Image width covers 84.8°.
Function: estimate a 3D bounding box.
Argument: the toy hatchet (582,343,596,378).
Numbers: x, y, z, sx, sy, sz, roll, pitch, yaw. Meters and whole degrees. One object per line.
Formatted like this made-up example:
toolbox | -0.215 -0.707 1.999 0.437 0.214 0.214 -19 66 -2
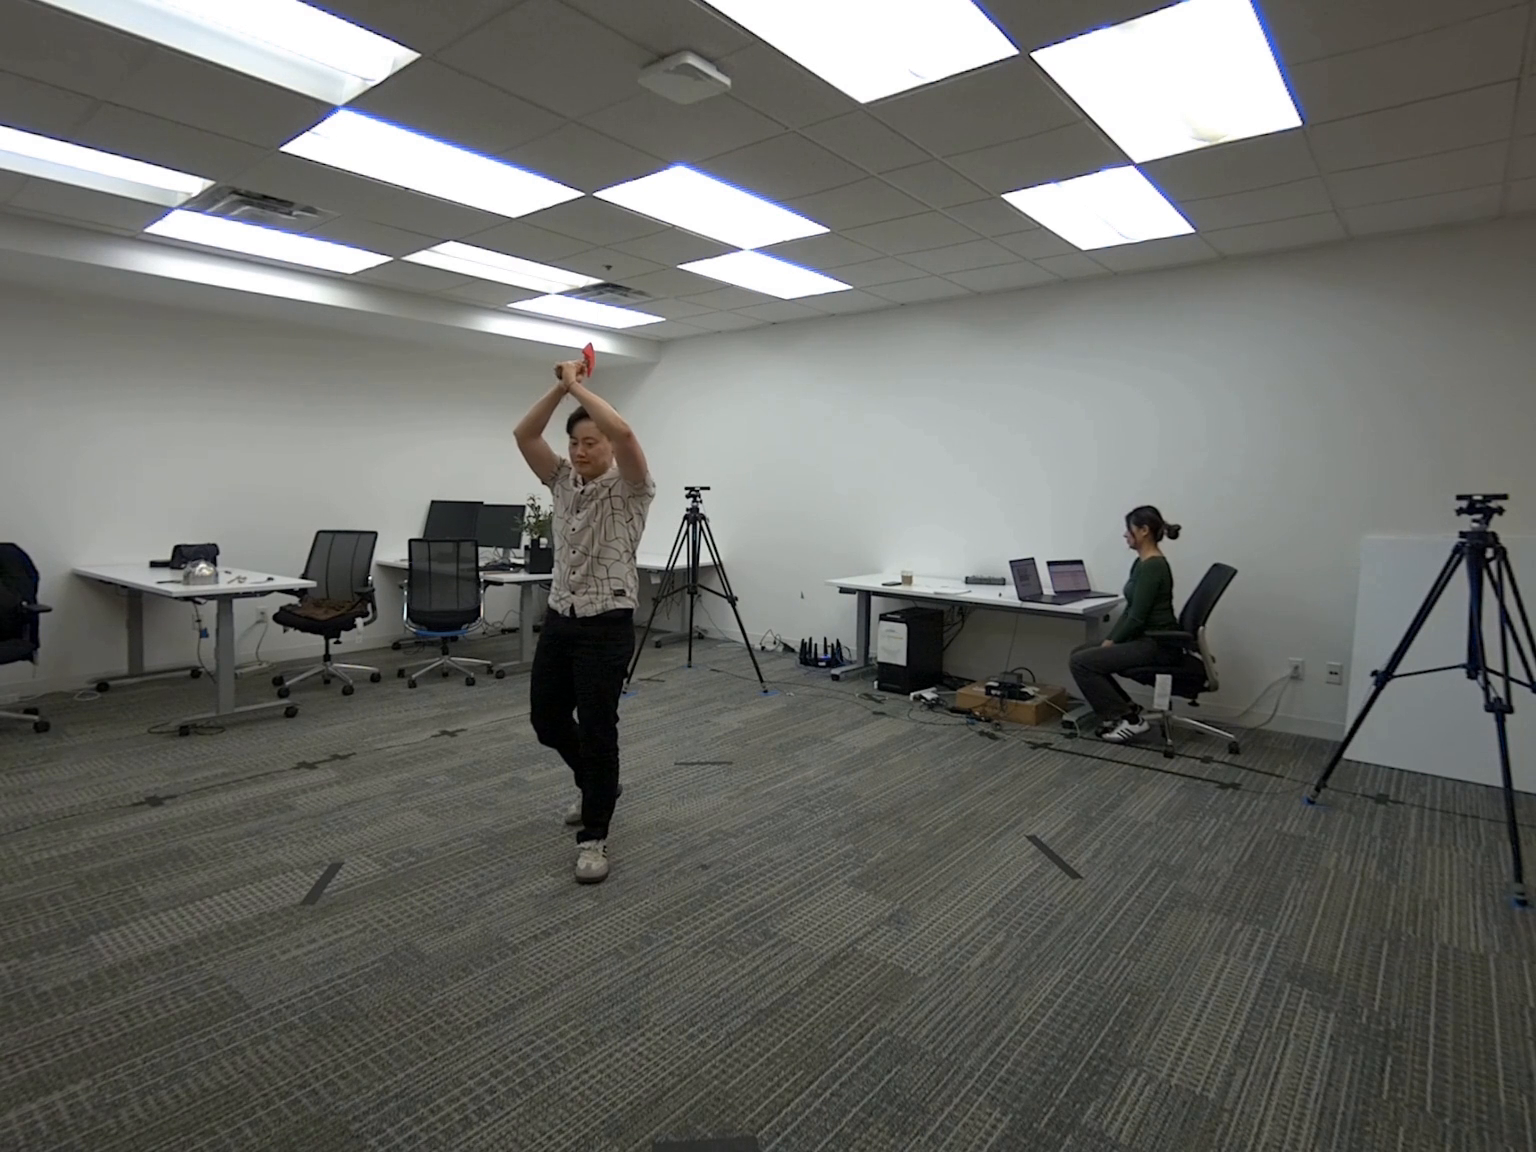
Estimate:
toy hatchet | -0.689 -0.763 2.976 0.030 0.130 0.269 19 15 8
